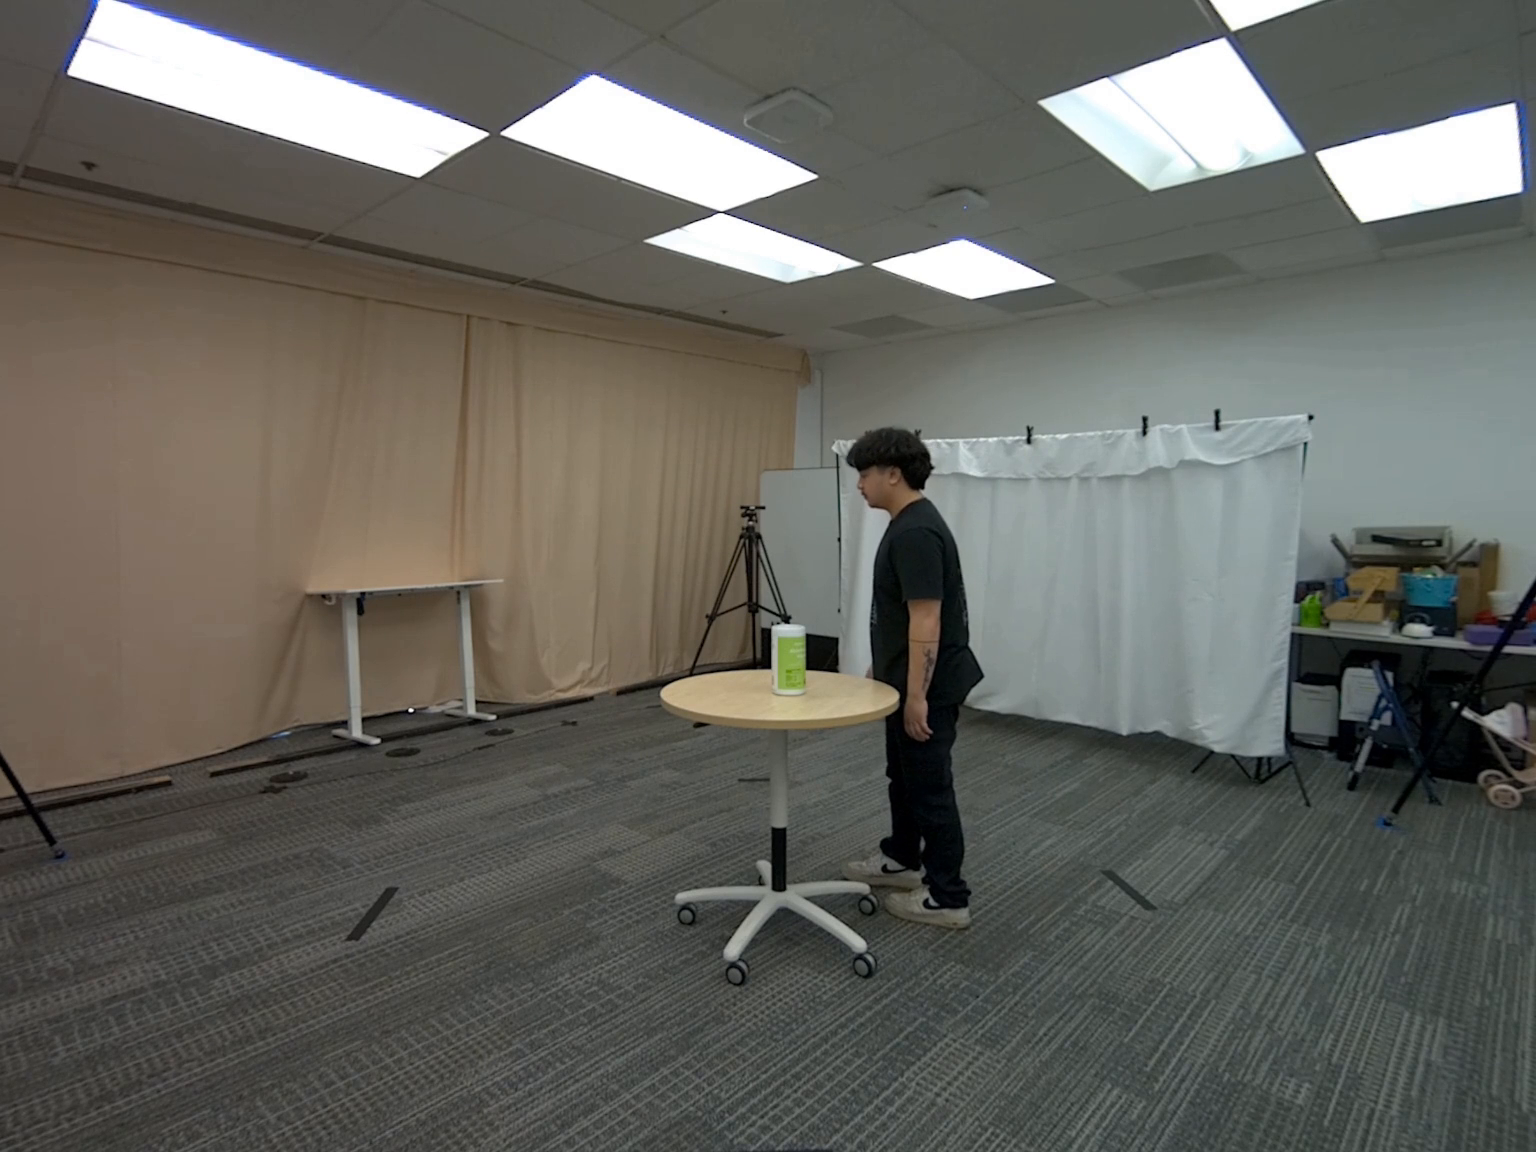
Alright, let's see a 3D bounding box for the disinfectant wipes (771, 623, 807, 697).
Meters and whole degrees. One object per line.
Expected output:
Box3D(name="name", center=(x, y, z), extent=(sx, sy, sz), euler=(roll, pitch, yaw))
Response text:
Box3D(name="disinfectant wipes", center=(0.073, 0.273, 2.700), extent=(0.118, 0.217, 0.118), euler=(0, 3, -2))
